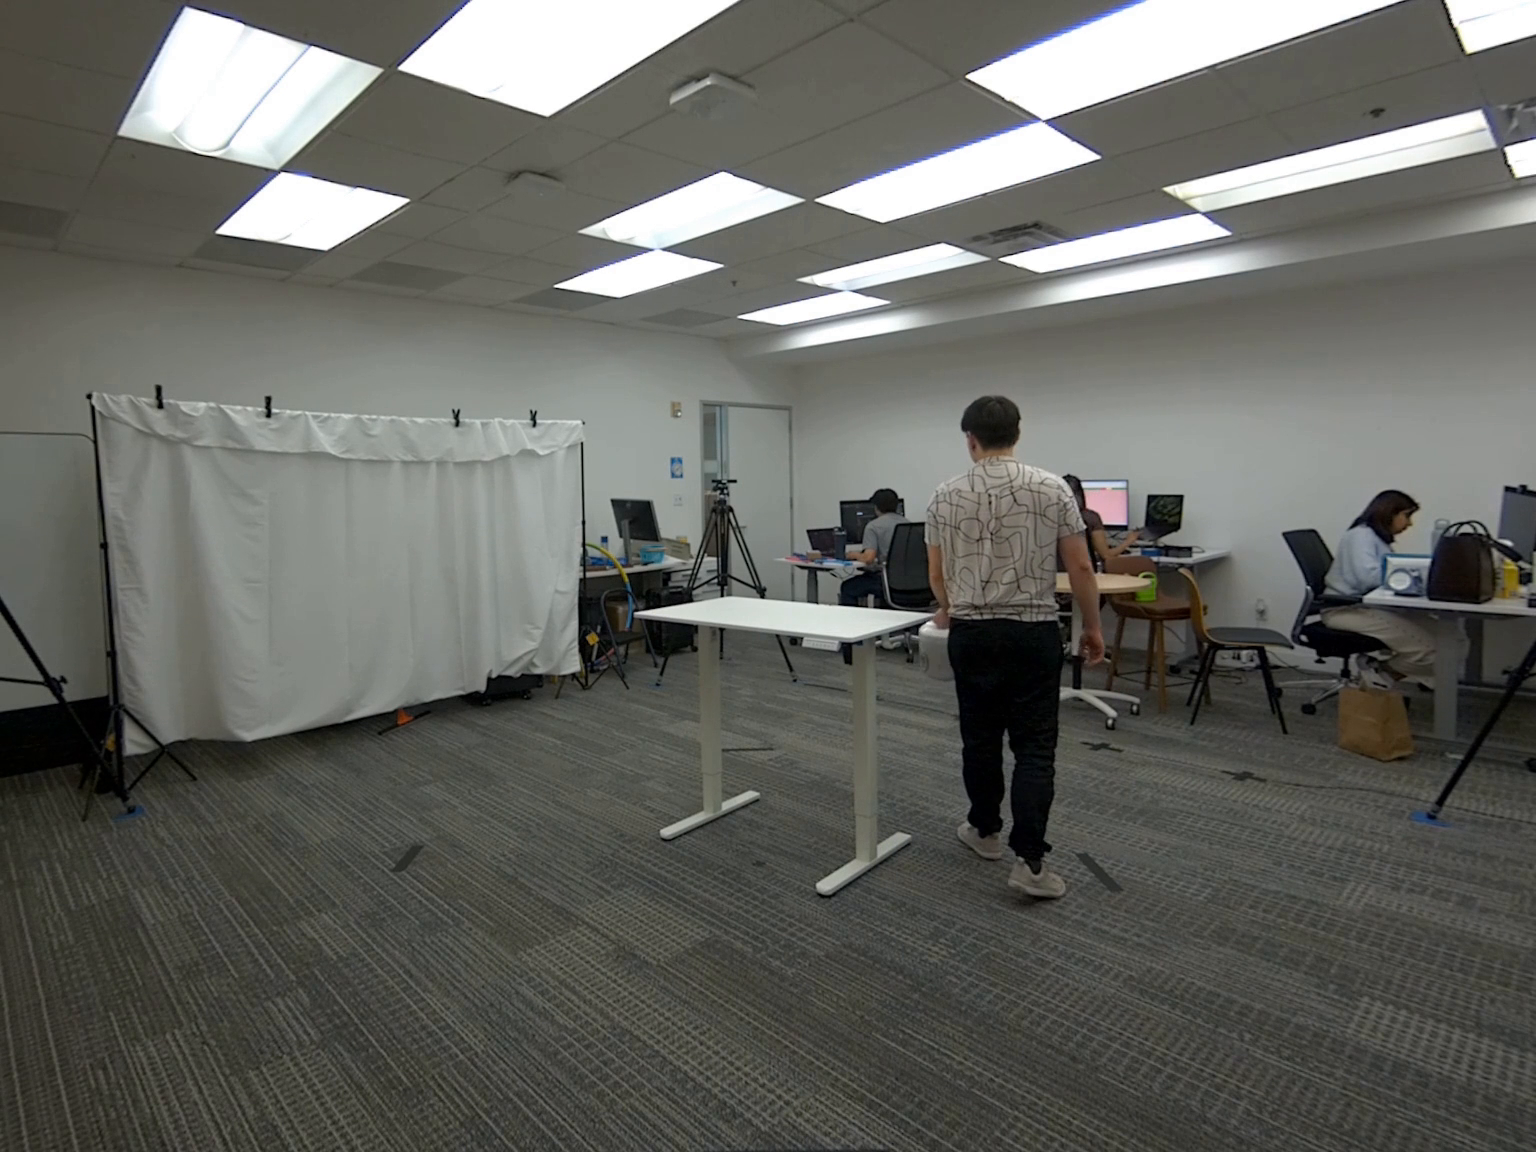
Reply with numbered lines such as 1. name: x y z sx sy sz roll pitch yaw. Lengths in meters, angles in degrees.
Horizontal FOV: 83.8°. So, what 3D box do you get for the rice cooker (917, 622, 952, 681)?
1. rice cooker: 0.700 0.276 3.346 0.214 0.230 0.226 -9 12 -18
